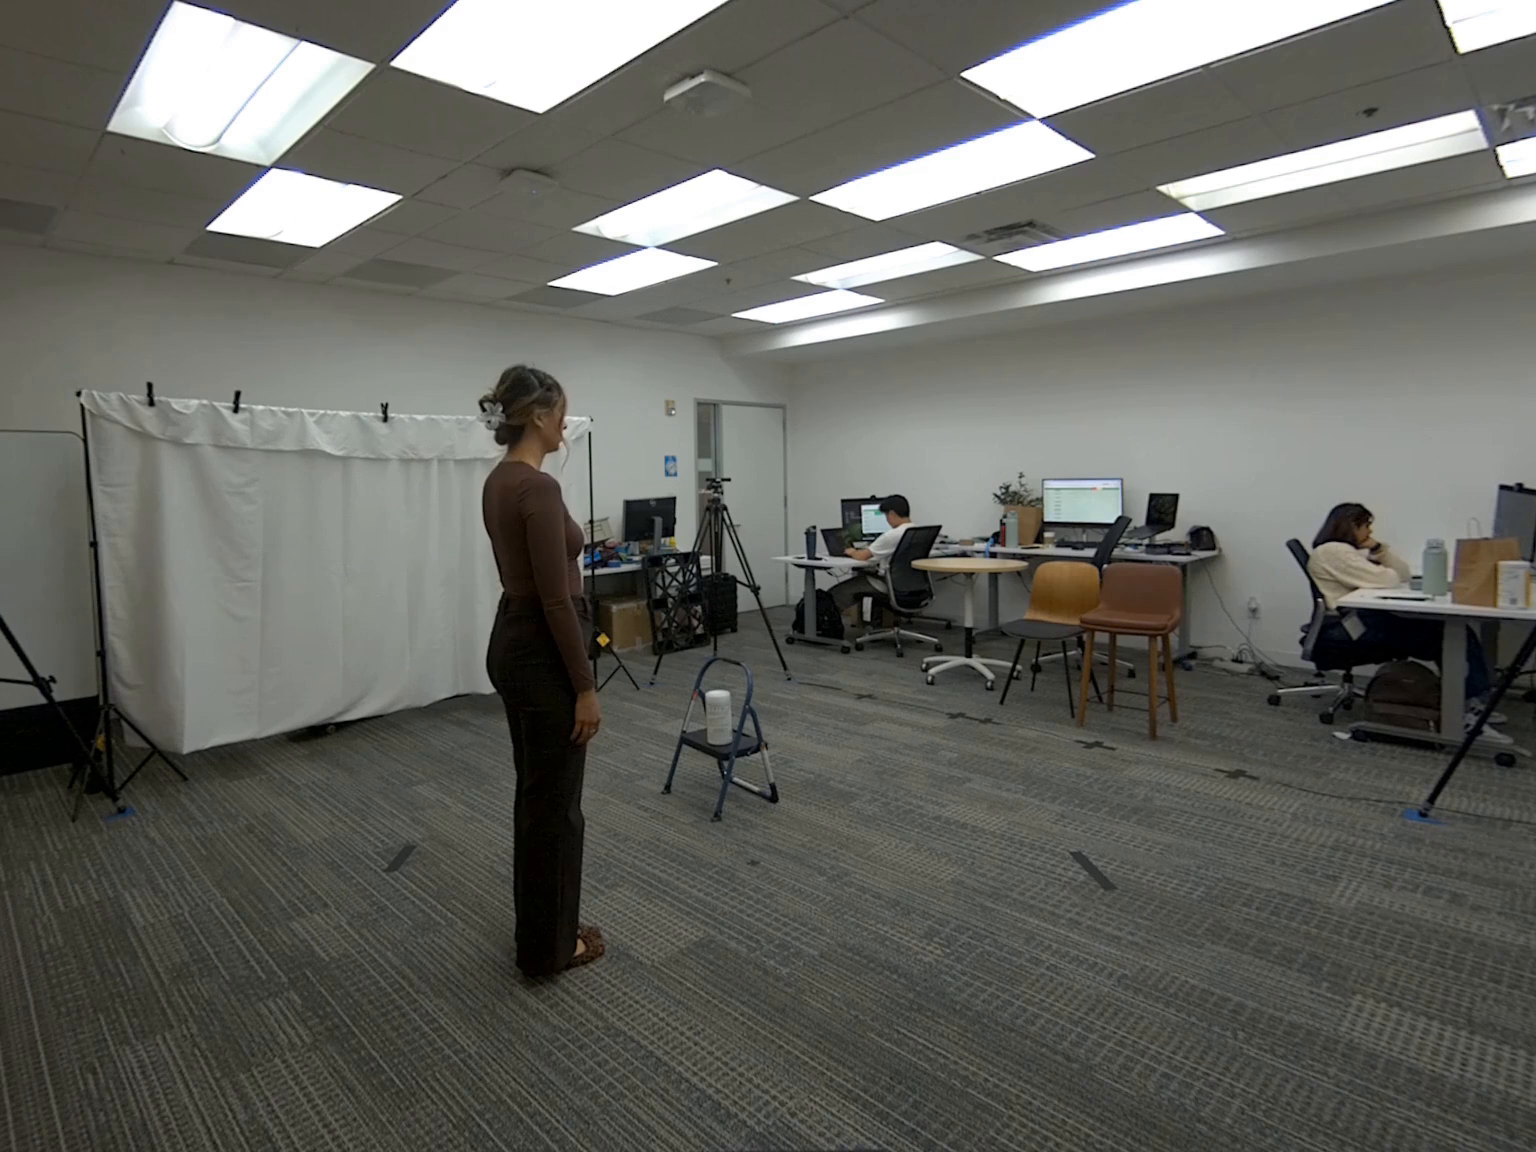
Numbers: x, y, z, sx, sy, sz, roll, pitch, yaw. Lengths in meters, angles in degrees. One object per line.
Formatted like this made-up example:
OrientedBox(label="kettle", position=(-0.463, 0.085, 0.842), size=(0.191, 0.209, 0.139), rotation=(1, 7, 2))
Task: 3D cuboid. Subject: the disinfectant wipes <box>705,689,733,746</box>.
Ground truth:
OrientedBox(label="disinfectant wipes", position=(-0.206, 0.613, 3.696), size=(0.118, 0.217, 0.118), rotation=(-4, 3, -1))
